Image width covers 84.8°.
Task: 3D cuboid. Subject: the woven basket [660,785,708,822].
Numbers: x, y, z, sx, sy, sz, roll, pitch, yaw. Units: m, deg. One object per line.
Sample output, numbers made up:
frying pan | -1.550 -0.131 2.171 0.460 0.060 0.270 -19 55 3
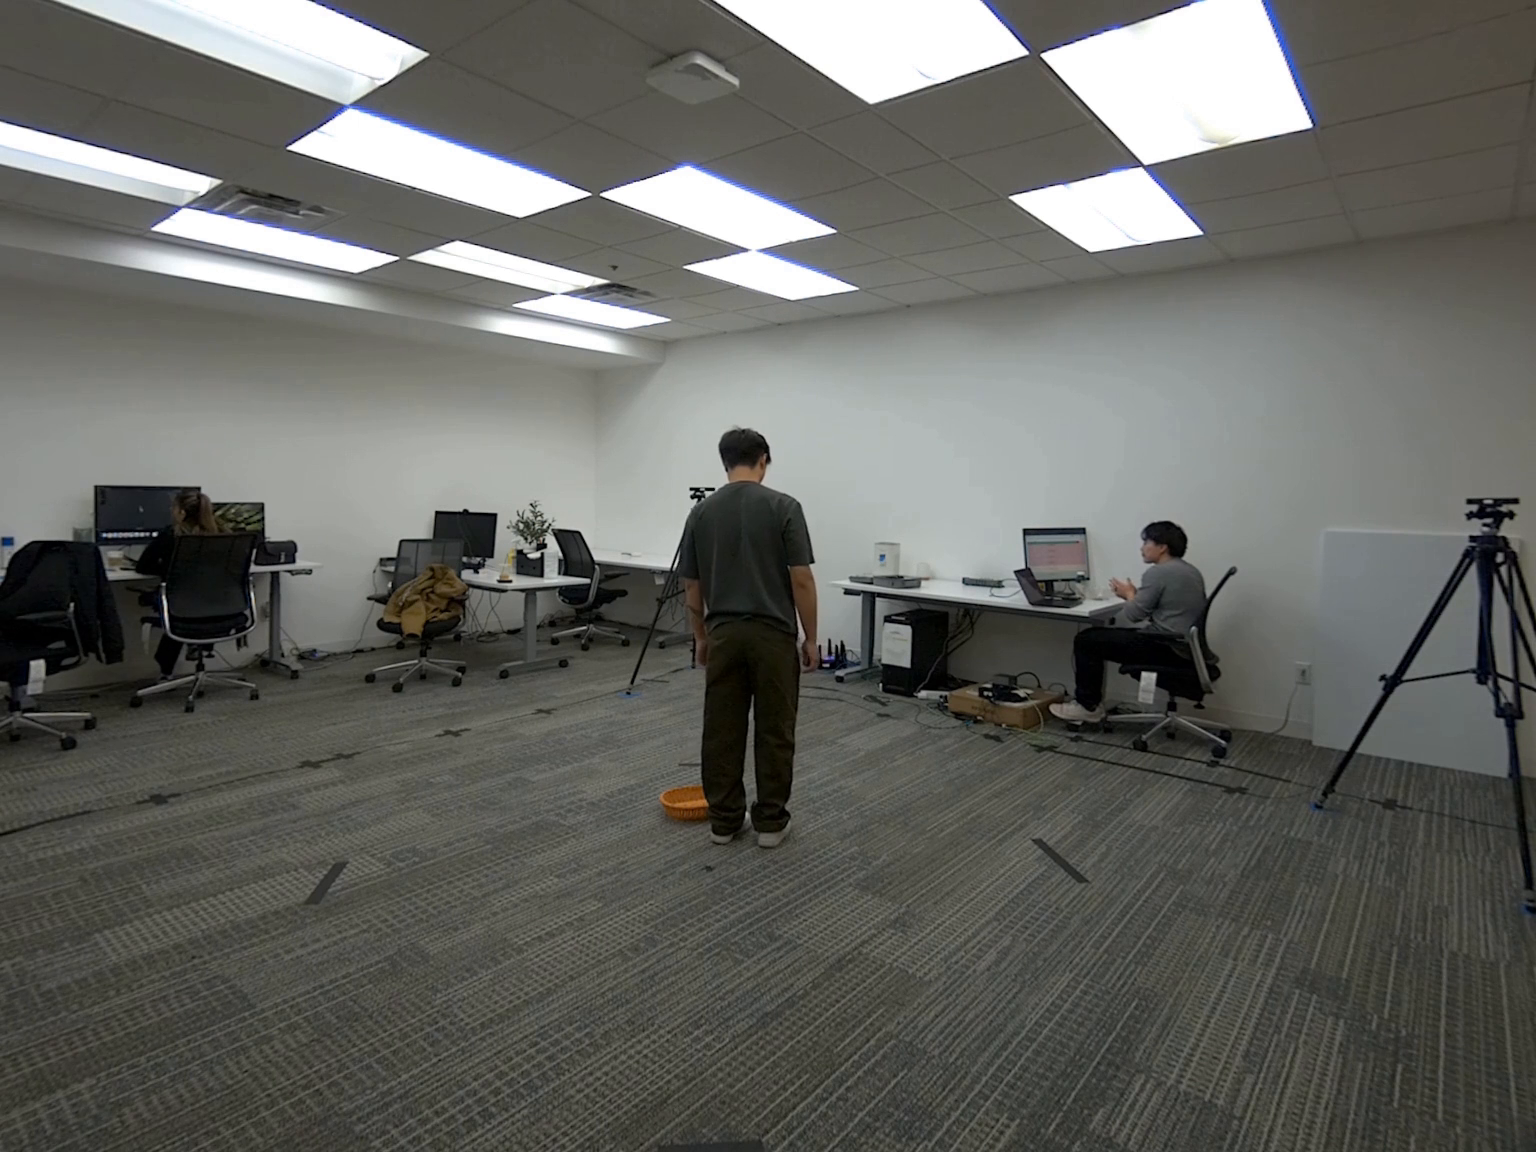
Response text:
woven basket | -0.309 0.971 3.659 0.344 0.073 0.258 -2 6 -18
